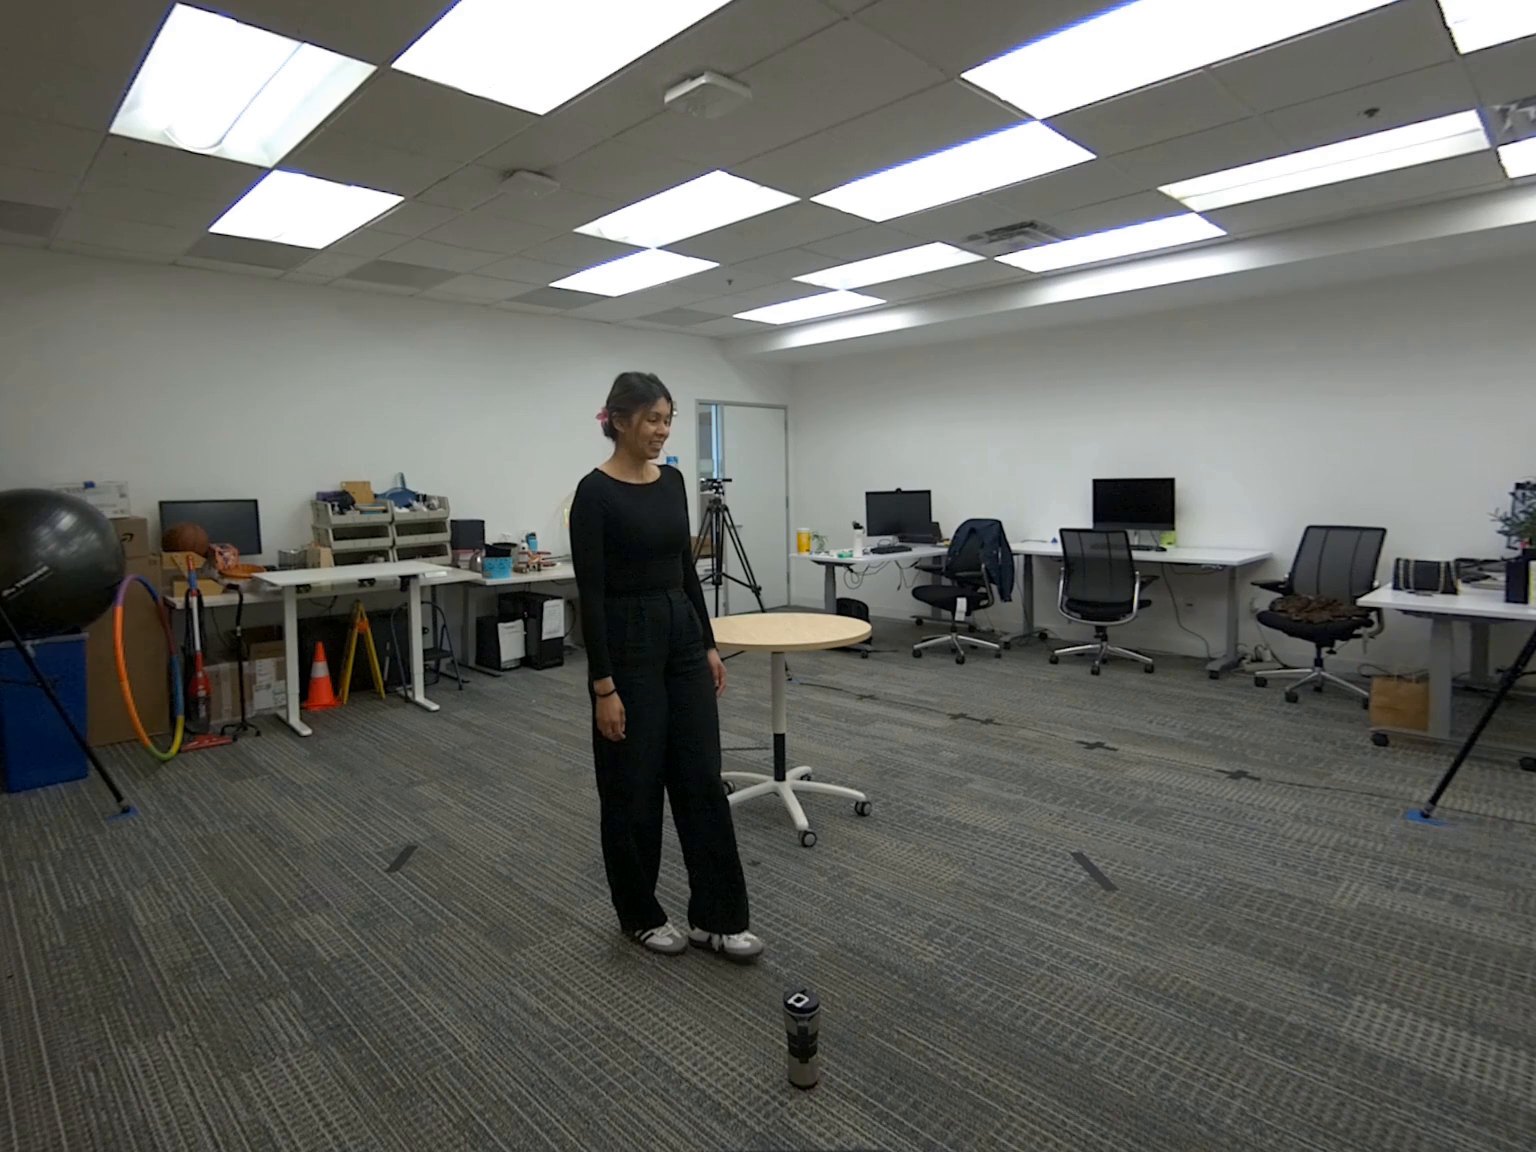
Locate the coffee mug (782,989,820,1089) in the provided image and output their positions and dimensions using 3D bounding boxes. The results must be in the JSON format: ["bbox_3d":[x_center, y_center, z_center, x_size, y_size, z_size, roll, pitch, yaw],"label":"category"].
[{"bbox_3d":[0.077,1.085,1.956,0.090,0.202,0.119,6,5,32],"label":"coffee mug"}]
